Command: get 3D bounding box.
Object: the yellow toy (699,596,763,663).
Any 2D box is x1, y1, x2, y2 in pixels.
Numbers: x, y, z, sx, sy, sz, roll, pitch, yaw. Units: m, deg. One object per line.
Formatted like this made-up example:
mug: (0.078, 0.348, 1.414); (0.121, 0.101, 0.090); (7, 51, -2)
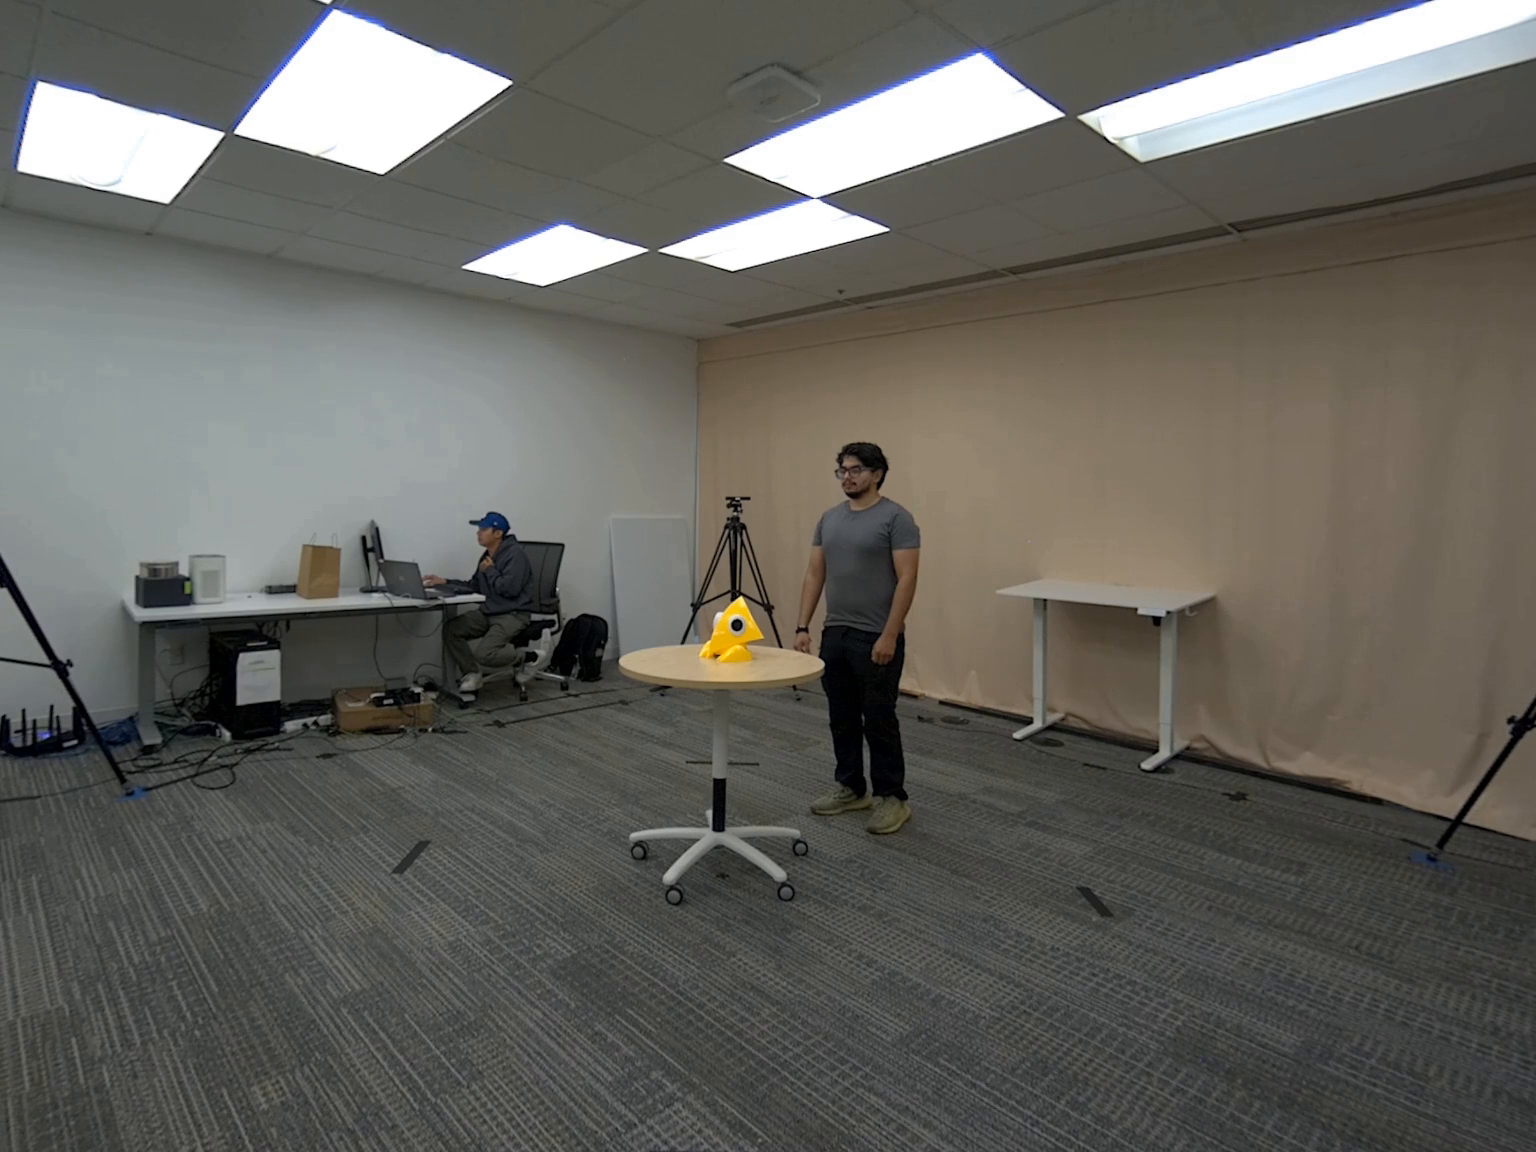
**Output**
yellow toy: (-0.155, 0.198, 3.221); (0.189, 0.230, 0.210); (-2, 5, -40)
